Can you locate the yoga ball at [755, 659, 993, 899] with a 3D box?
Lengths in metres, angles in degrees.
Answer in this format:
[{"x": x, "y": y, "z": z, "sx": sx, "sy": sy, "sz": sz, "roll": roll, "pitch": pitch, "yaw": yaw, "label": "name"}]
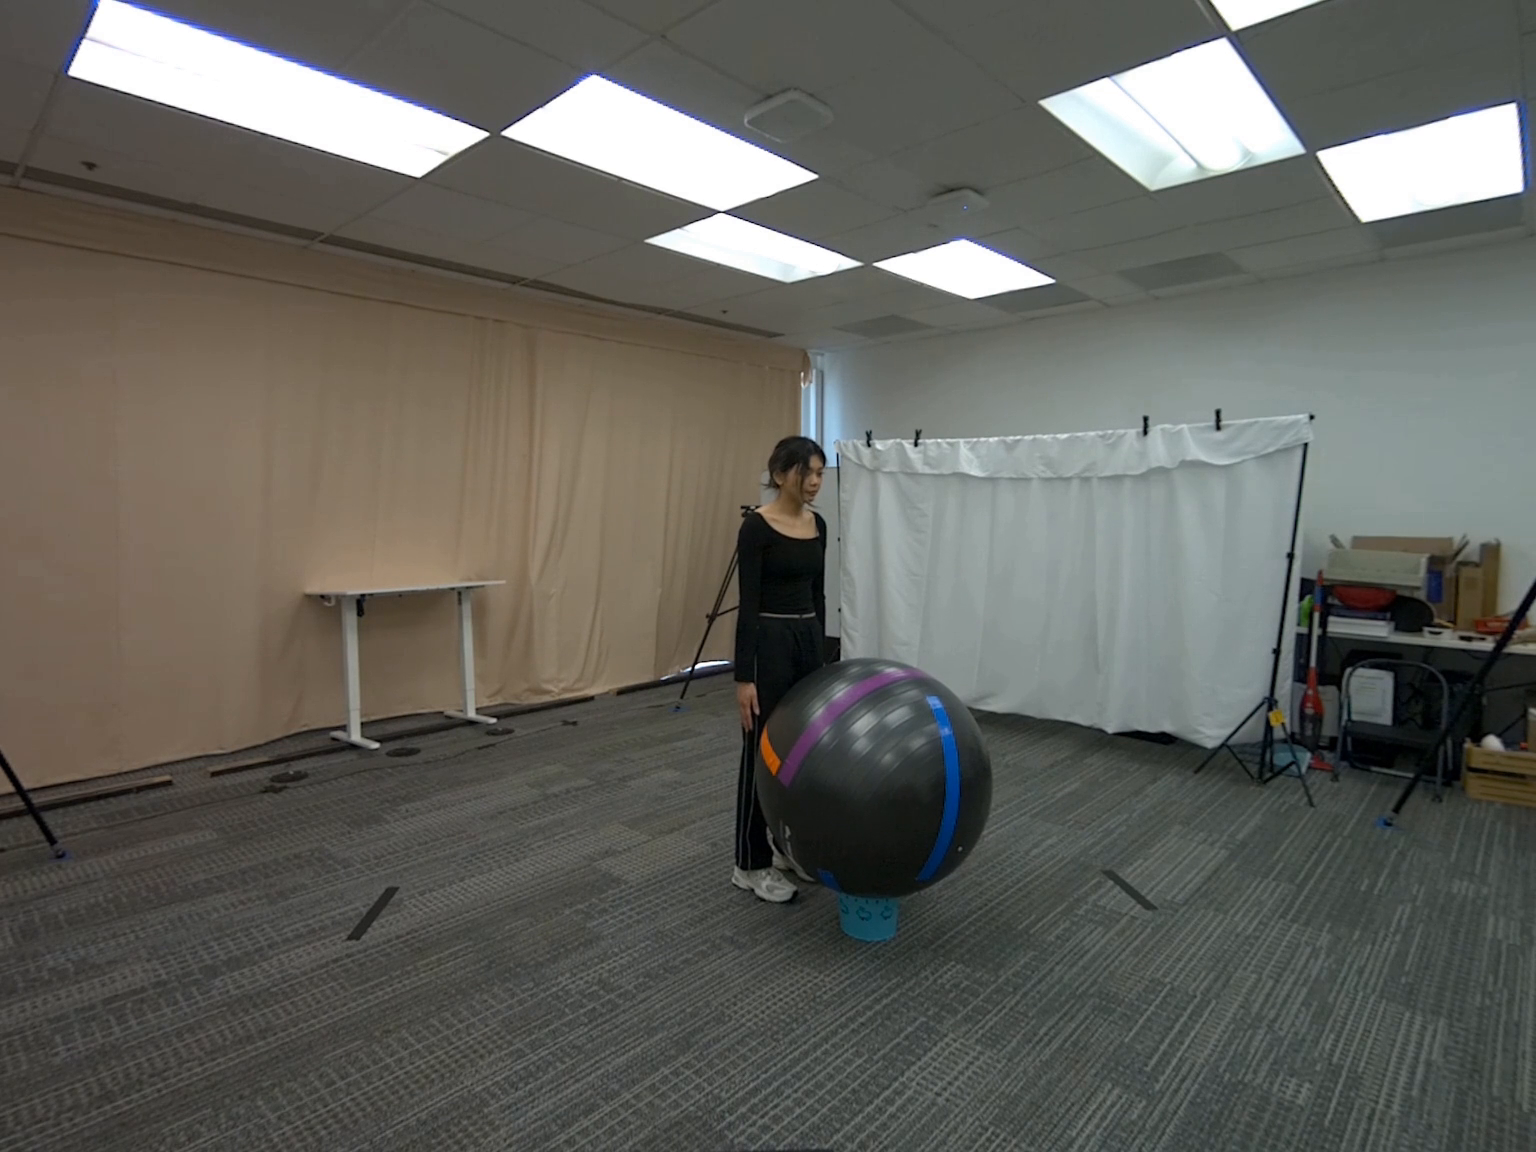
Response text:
[{"x": 0.345, "y": 0.658, "z": 2.764, "sx": 0.757, "sy": 0.756, "sz": 0.760, "roll": 0, "pitch": 4, "yaw": -2, "label": "yoga ball"}]
